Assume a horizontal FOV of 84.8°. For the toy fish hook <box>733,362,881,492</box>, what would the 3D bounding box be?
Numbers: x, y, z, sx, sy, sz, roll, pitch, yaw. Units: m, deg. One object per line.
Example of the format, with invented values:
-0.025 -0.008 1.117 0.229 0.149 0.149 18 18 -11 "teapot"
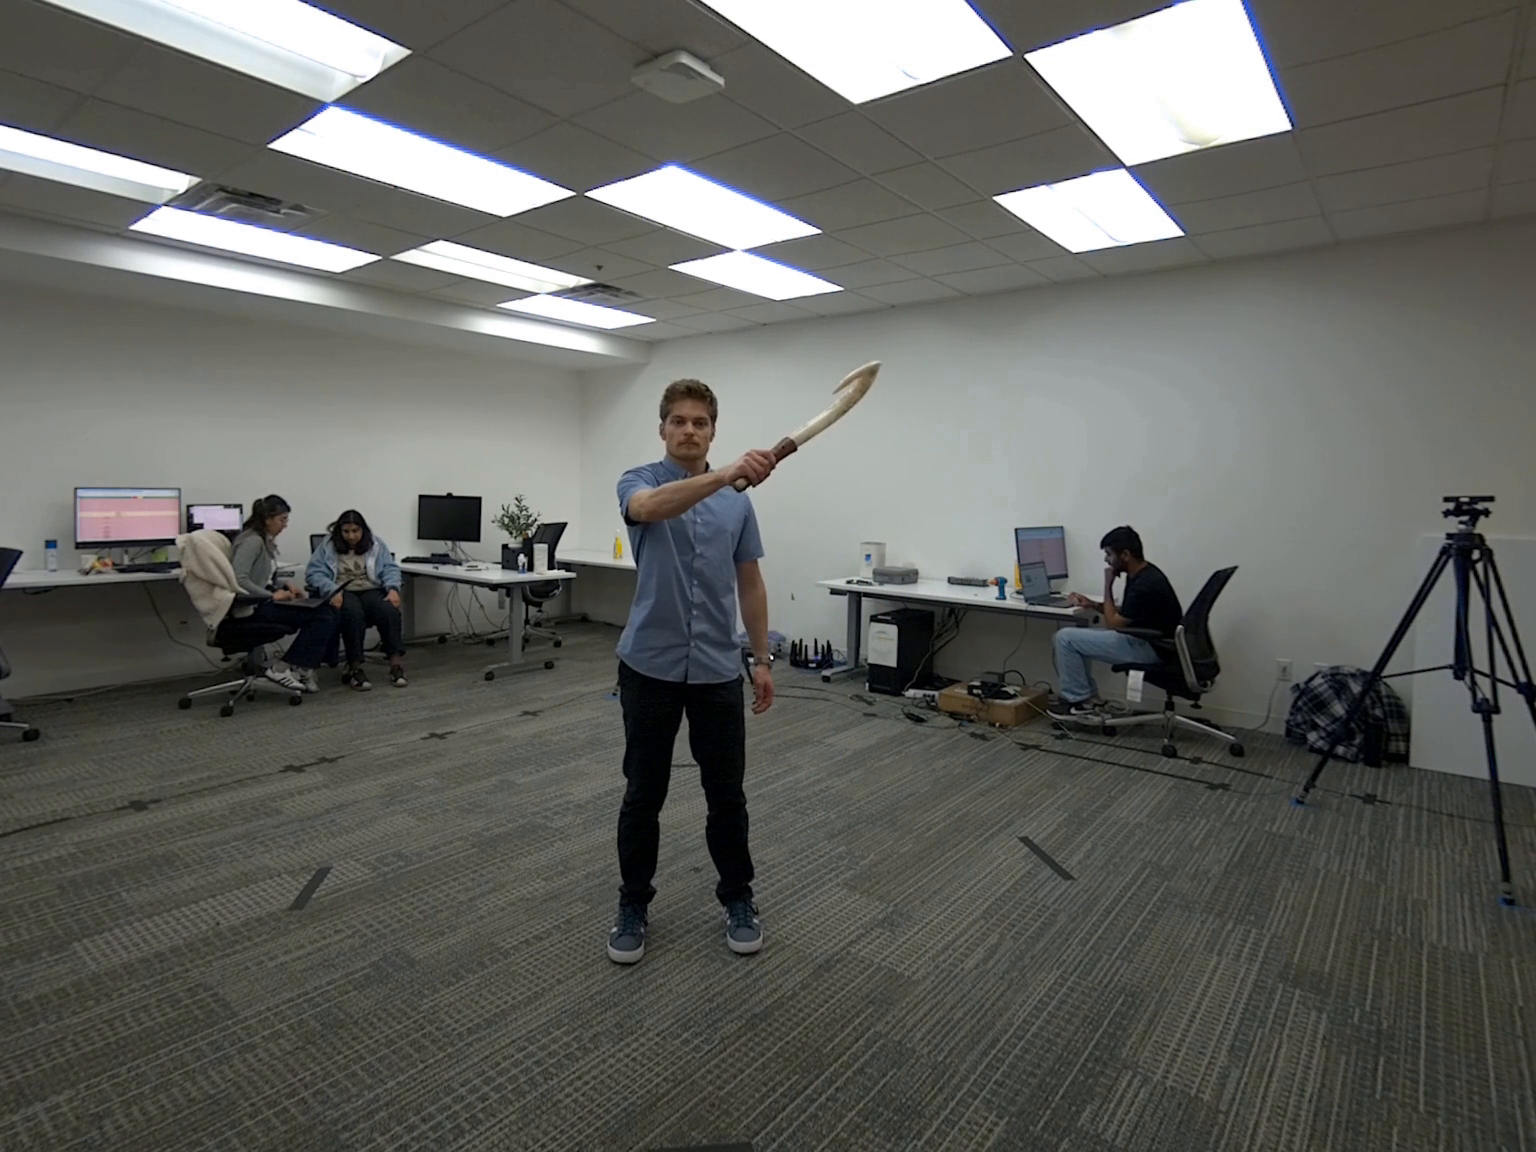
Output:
0.079 -0.379 2.125 0.505 0.049 0.221 -43 -10 -20 "toy fish hook"
